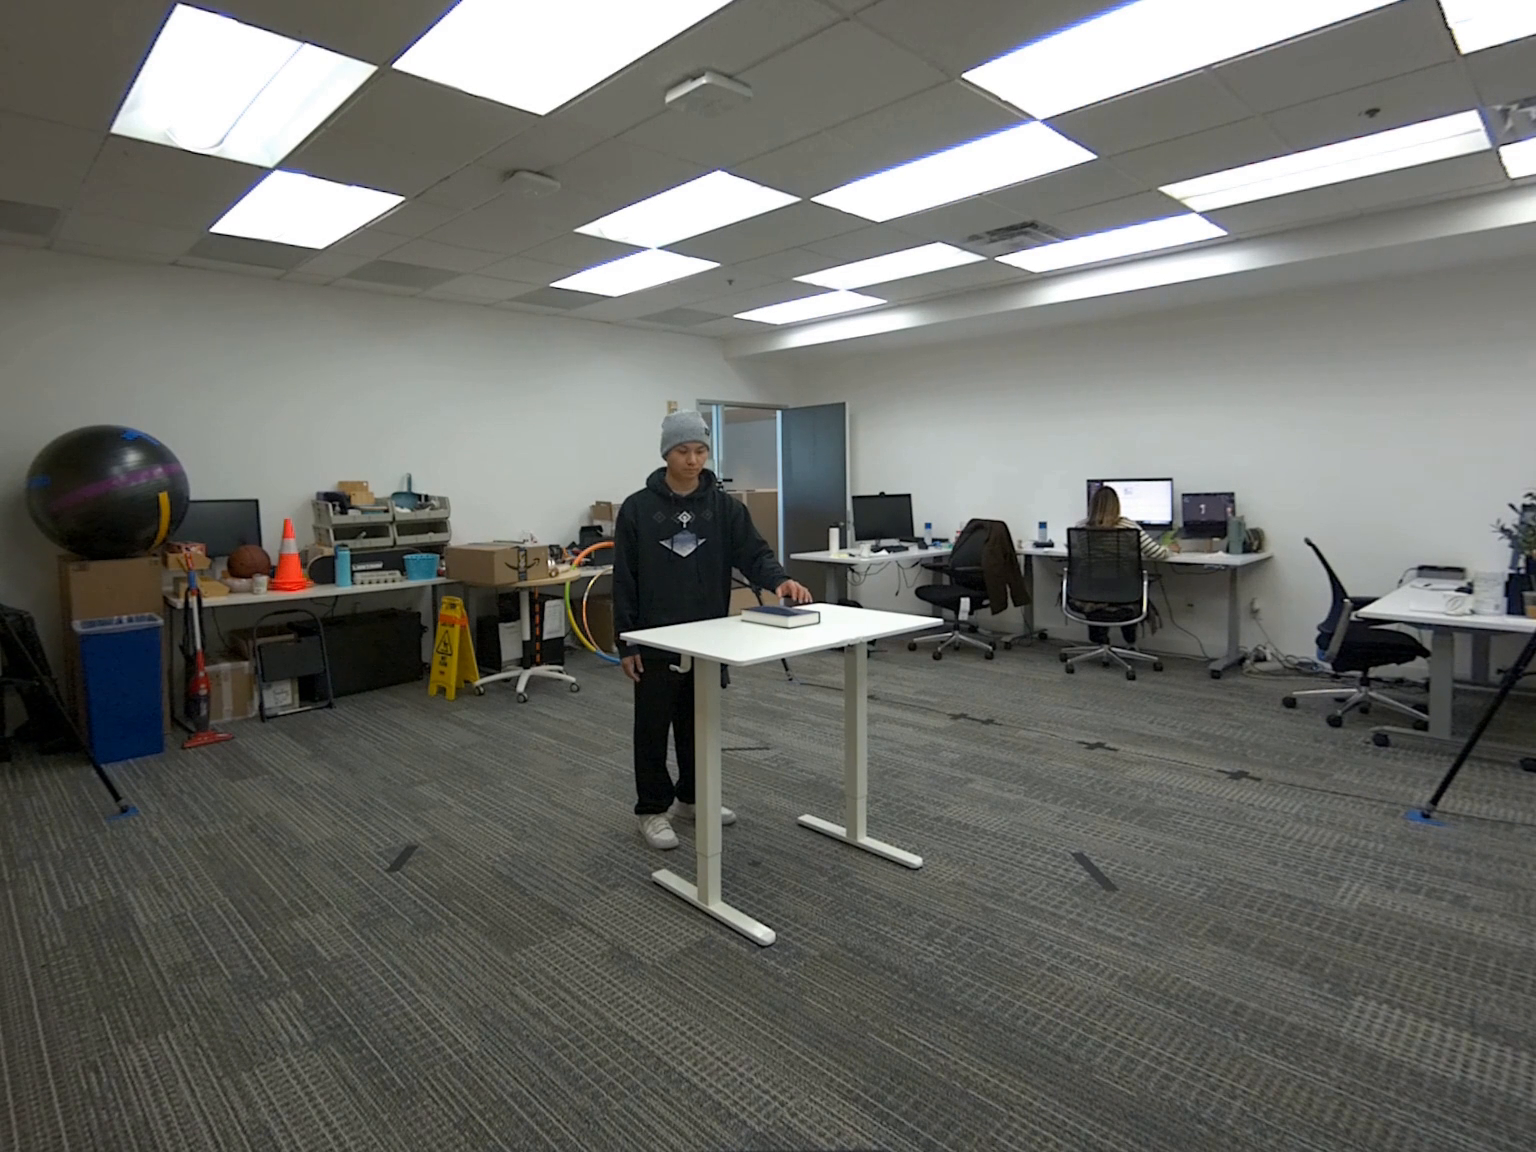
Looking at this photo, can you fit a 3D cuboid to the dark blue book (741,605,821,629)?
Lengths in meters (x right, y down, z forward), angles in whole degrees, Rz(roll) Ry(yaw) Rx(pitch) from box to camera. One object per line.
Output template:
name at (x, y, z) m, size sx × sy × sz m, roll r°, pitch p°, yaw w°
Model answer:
dark blue book at (0.035, 0.142, 3.060) m, size 0.159 × 0.045 × 0.253 m, roll -6°, pitch 8°, yaw -43°
